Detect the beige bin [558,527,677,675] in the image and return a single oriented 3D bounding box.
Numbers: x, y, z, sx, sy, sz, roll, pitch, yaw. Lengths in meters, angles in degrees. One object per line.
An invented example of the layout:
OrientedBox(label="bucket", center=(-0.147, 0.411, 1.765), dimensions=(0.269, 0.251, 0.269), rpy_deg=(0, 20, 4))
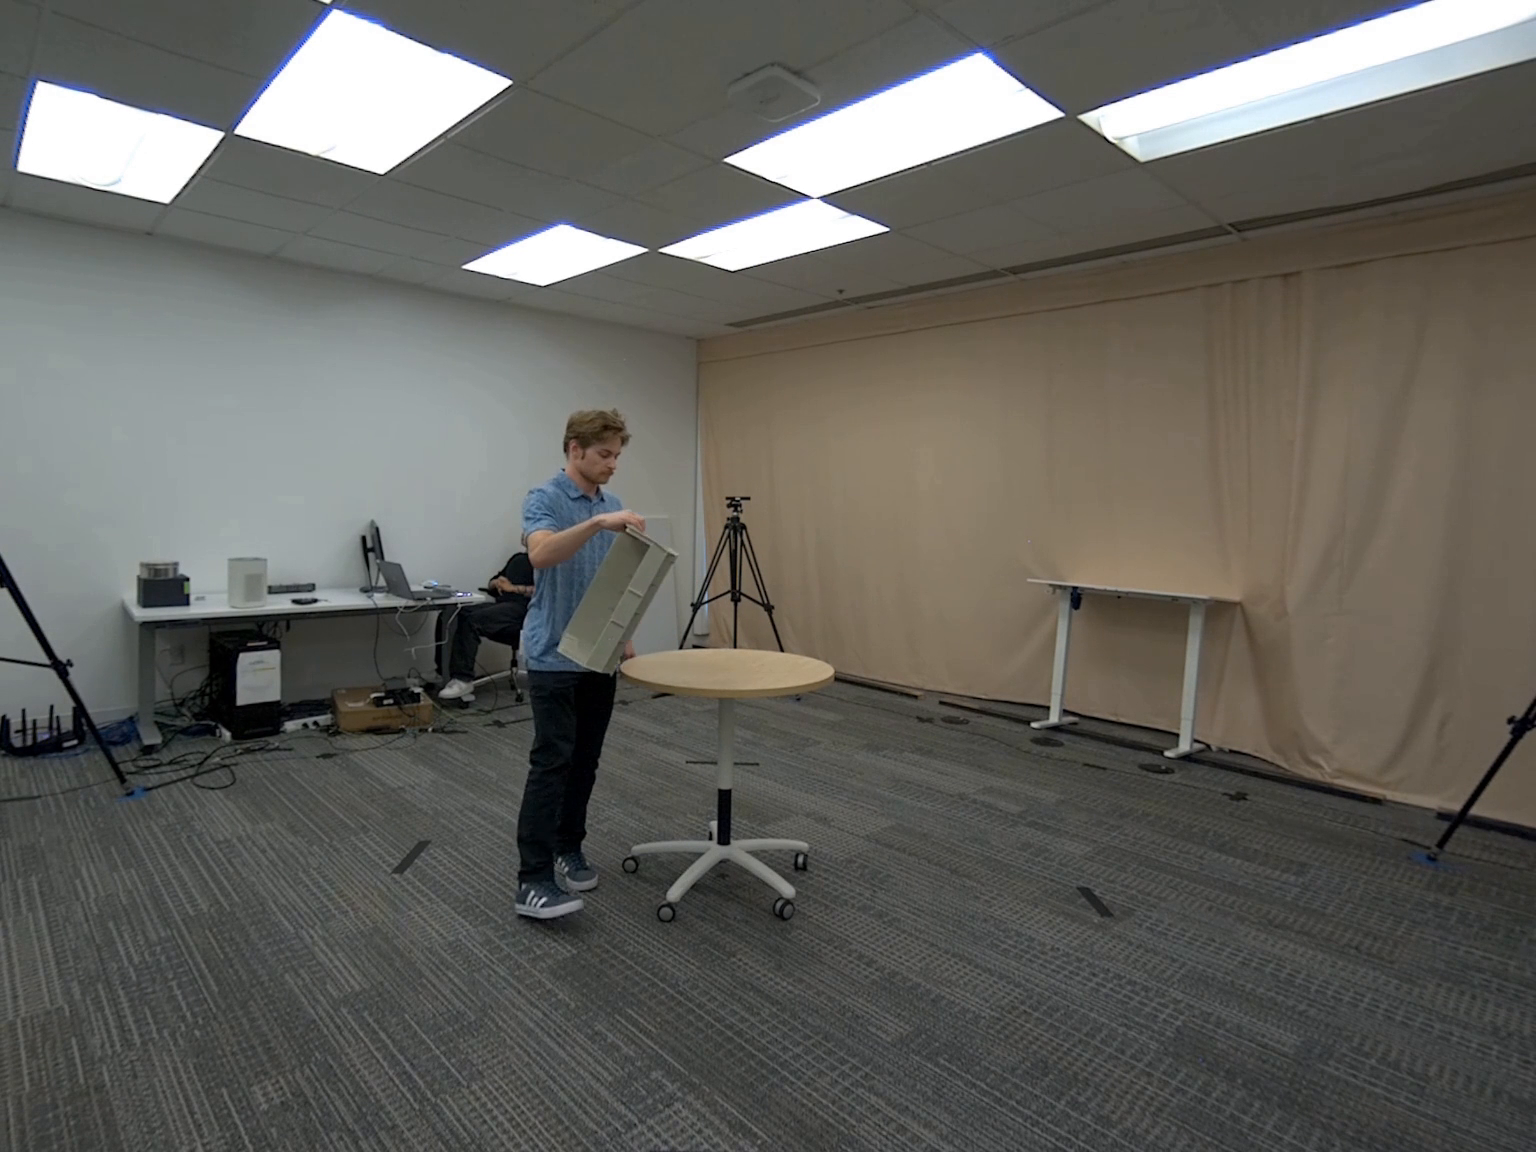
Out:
OrientedBox(label="beige bin", center=(-0.477, 0.065, 2.610), dimensions=(0.187, 0.422, 0.381), rpy_deg=(26, 0, -10))
